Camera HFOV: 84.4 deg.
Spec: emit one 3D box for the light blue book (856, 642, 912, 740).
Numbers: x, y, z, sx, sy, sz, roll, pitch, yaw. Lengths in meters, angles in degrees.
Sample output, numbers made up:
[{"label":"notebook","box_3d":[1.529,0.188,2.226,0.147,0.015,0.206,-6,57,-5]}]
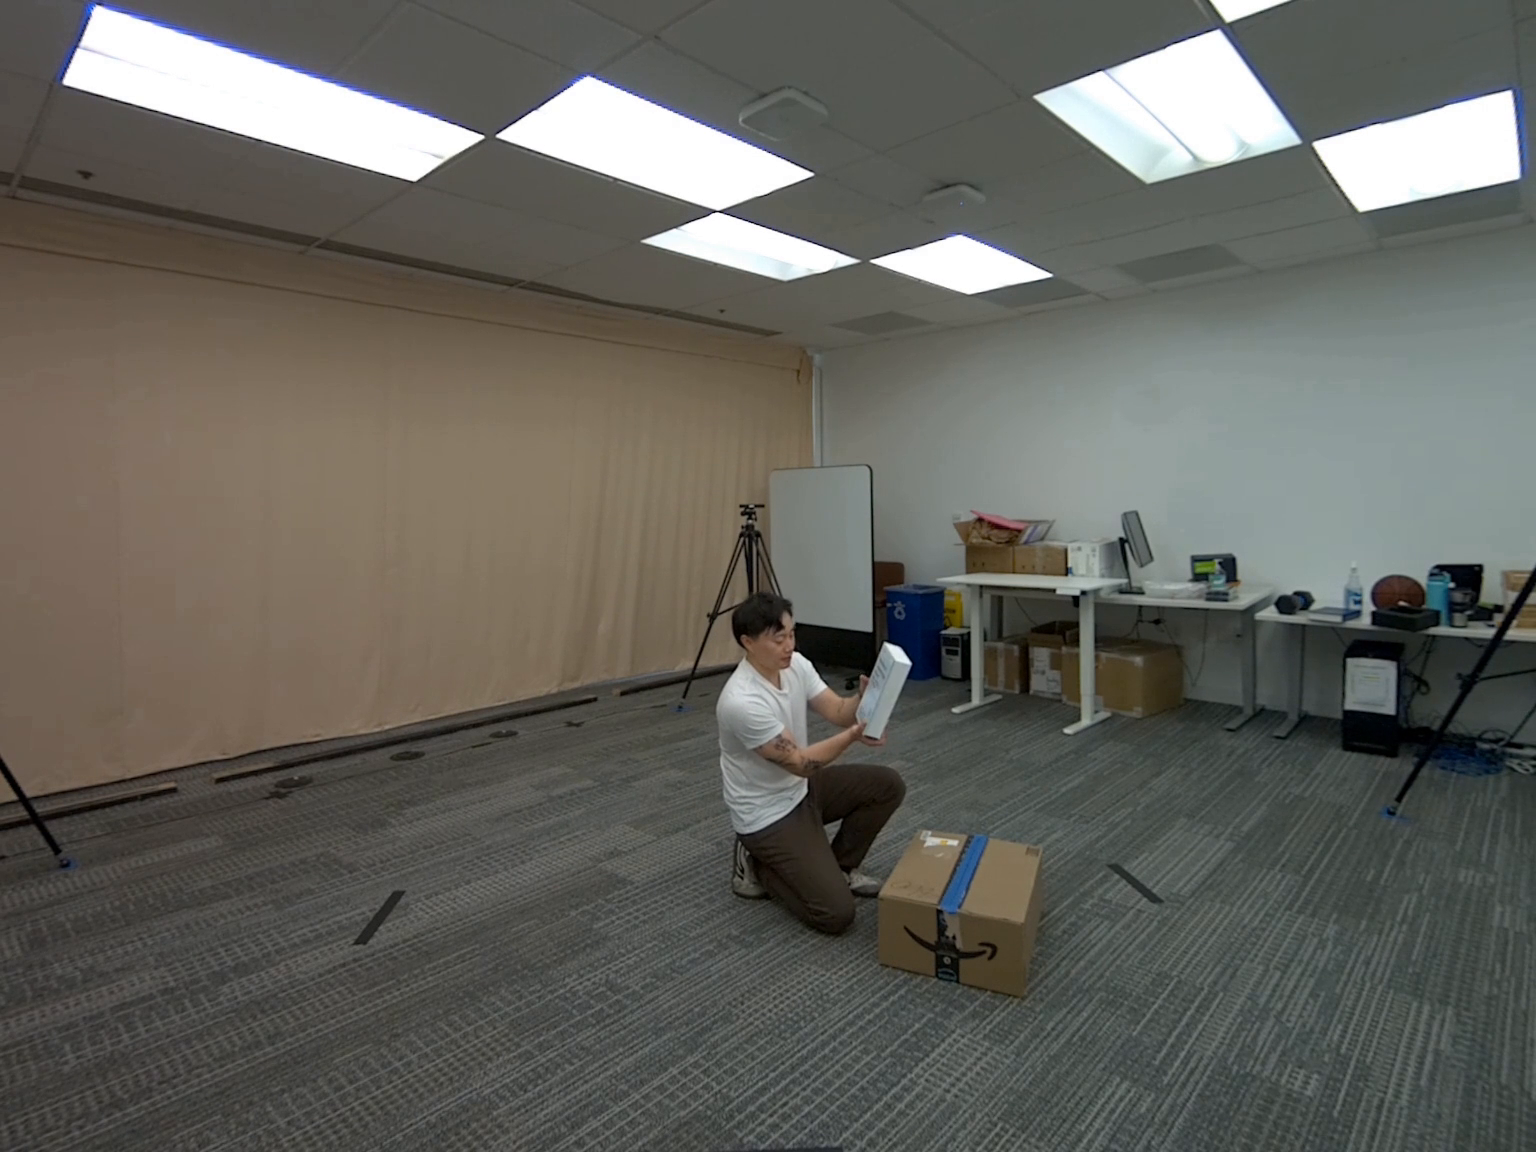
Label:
[{"label":"light blue book","box_3d":[0.364,0.361,2.653,0.059,0.260,0.192,21,9,-5]}]
